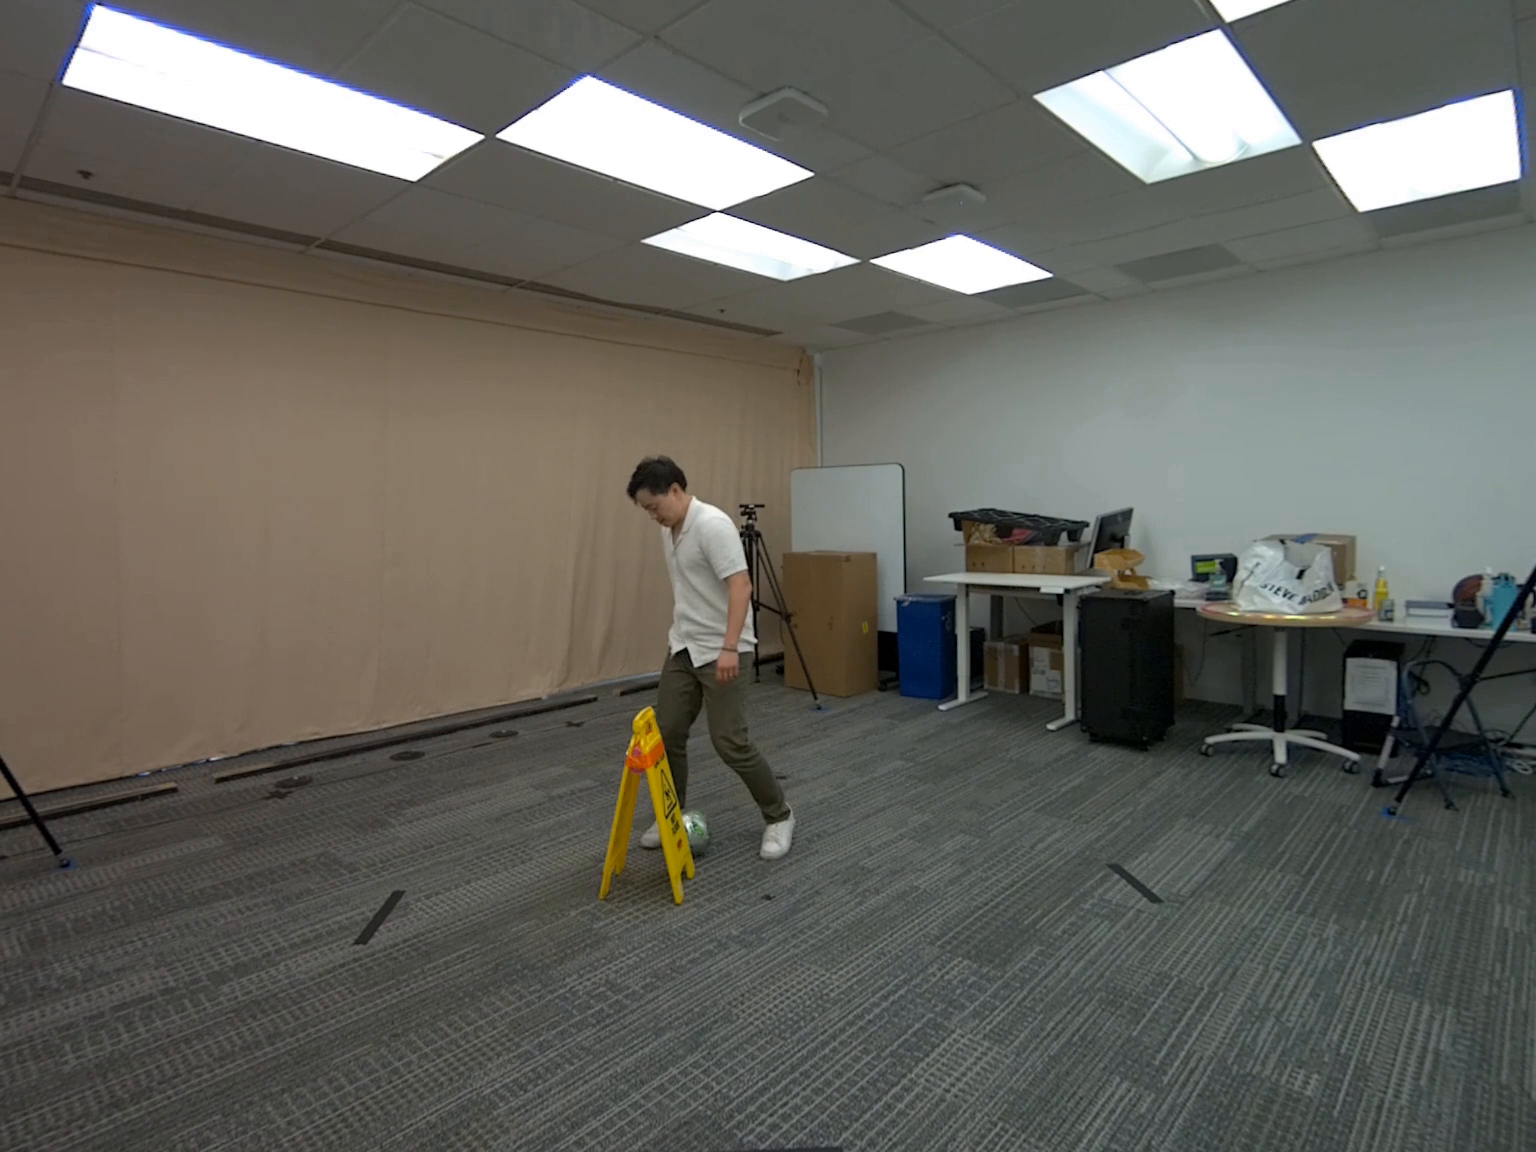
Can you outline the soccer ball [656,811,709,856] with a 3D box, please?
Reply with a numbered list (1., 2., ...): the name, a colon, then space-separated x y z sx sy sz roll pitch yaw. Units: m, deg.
1. soccer ball: -0.308 1.022 3.349 0.187 0.187 0.188 -1 4 -2
